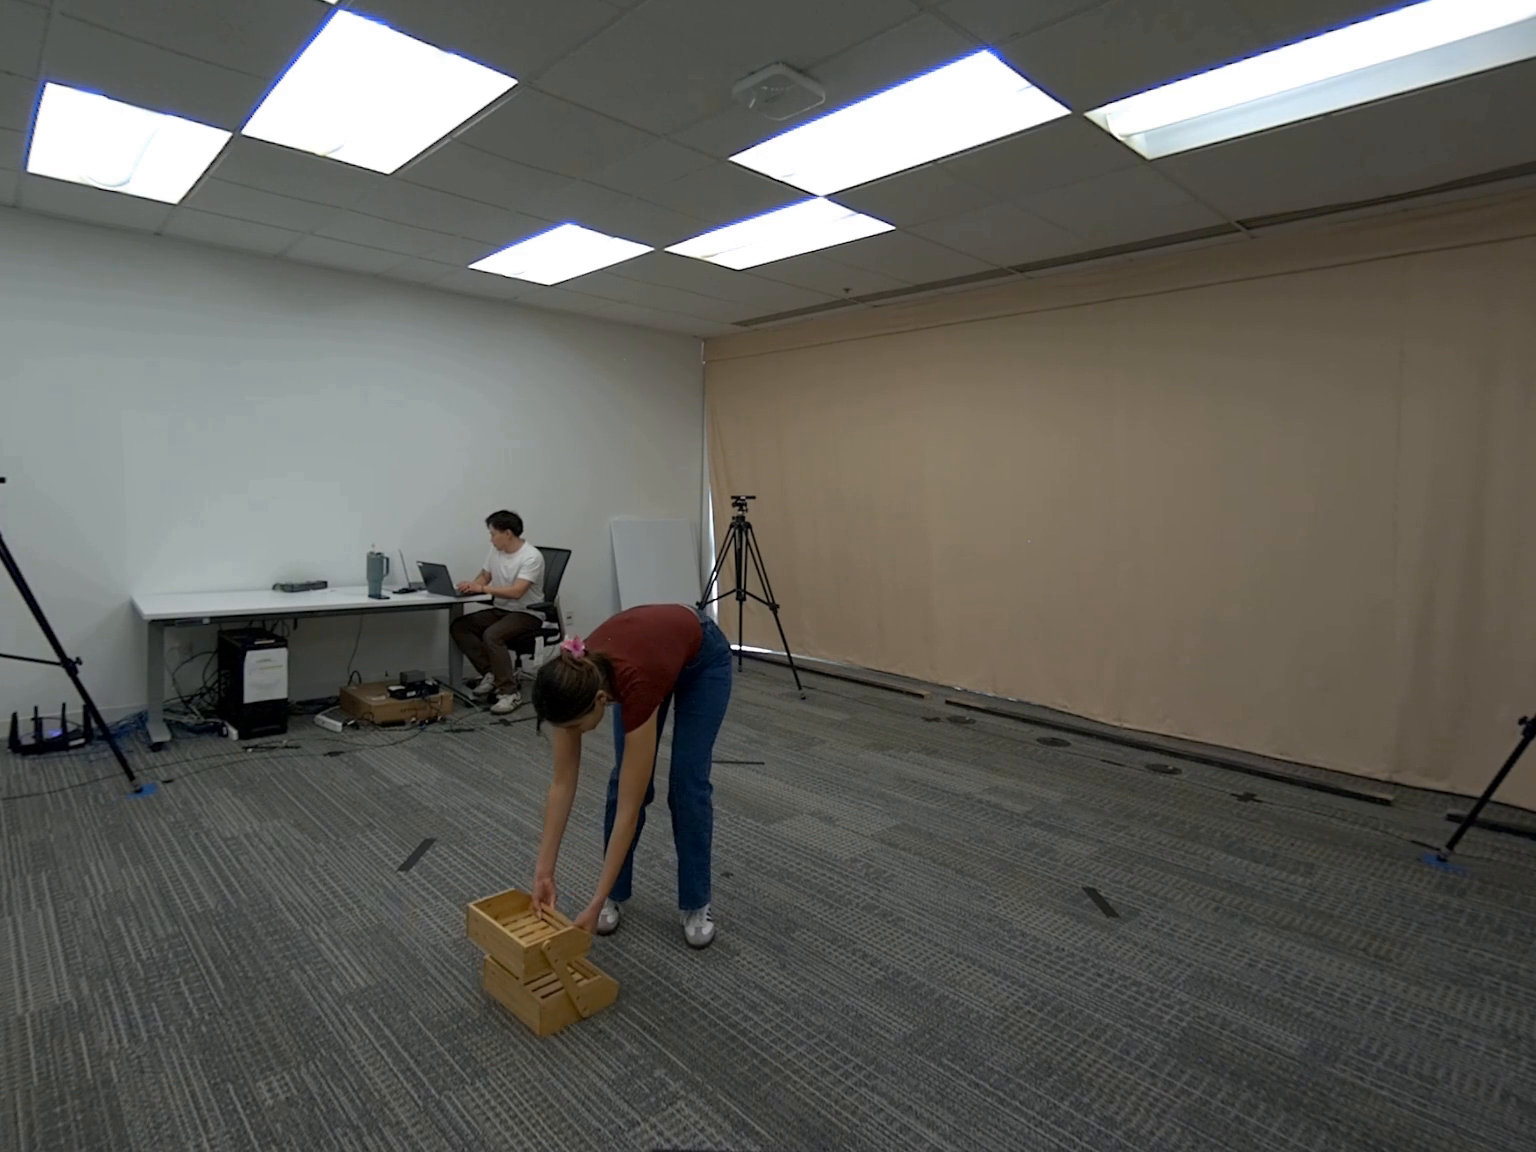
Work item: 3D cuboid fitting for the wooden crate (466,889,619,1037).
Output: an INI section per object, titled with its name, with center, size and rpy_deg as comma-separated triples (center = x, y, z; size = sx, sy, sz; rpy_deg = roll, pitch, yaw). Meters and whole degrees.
[wooden crate]
center = -0.613, 1.031, 2.306
size = 0.333, 0.272, 0.295
rpy_deg = 5, 6, 43
